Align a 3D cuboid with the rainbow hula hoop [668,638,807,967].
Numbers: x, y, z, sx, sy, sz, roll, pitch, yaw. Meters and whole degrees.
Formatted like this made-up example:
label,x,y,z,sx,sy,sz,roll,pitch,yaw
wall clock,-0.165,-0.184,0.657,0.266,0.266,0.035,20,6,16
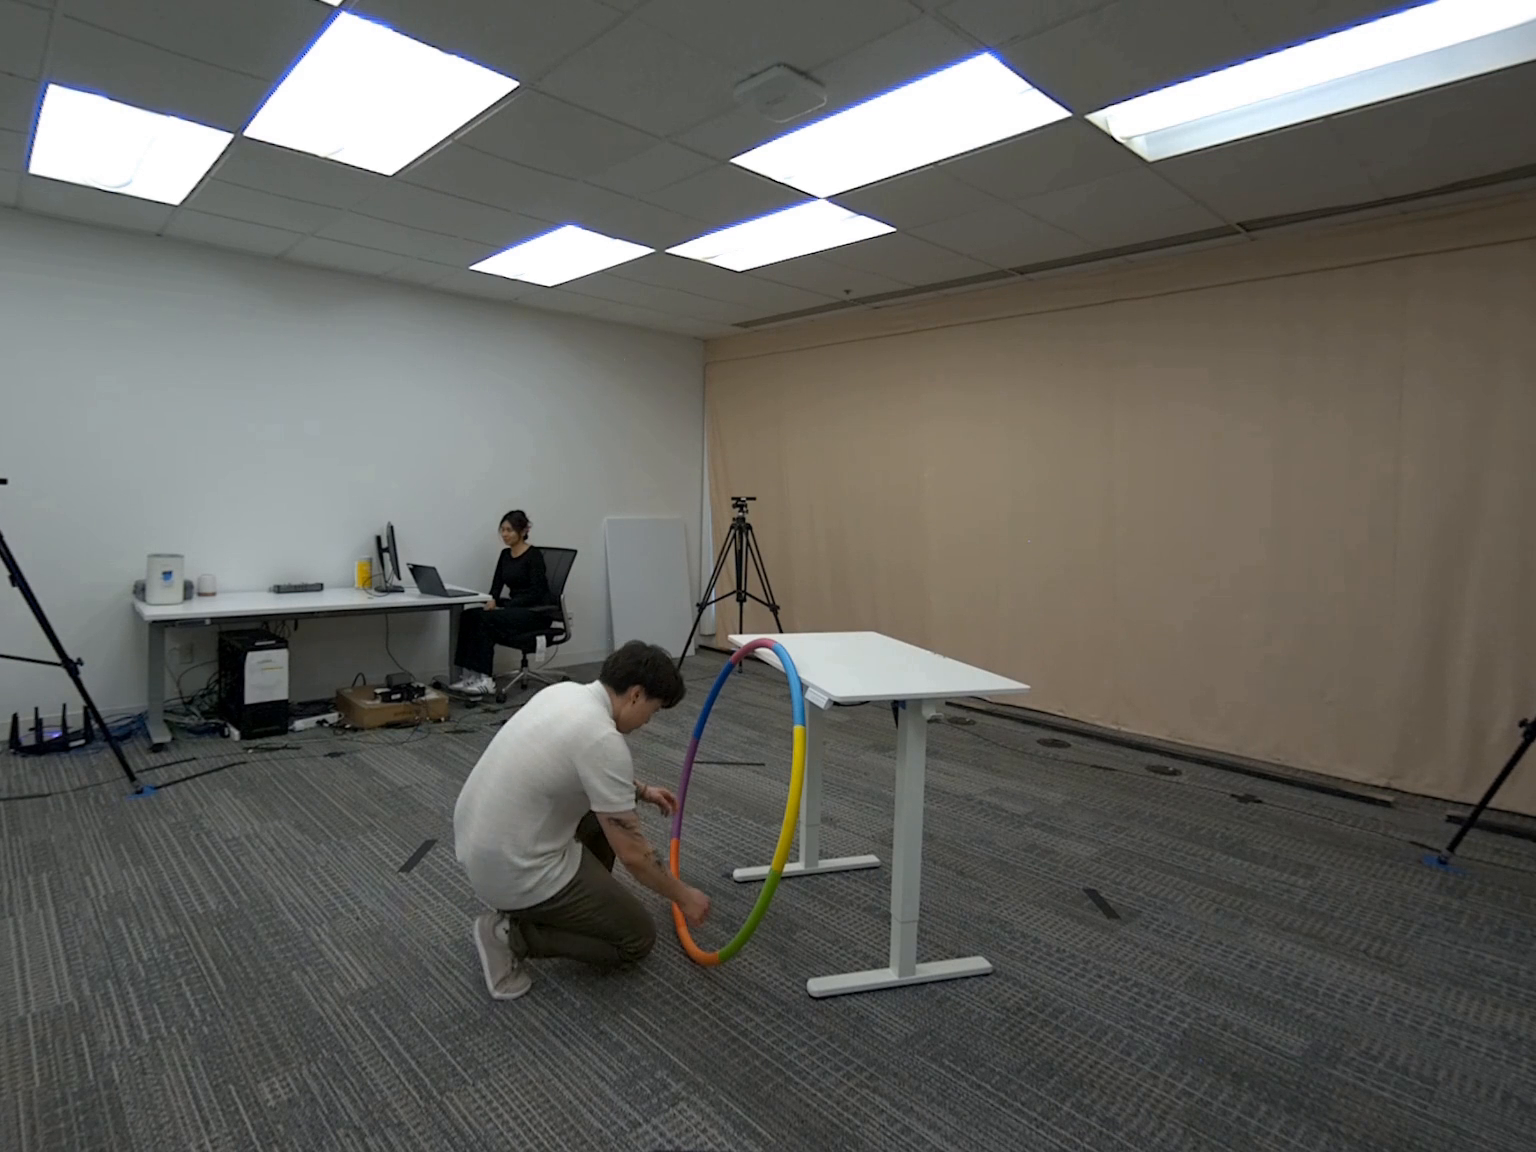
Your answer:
label,x,y,z,sx,sy,sz,roll,pitch,yaw
rainbow hula hoop,-0.135,0.672,2.632,0.035,0.979,0.994,17,-1,-19
